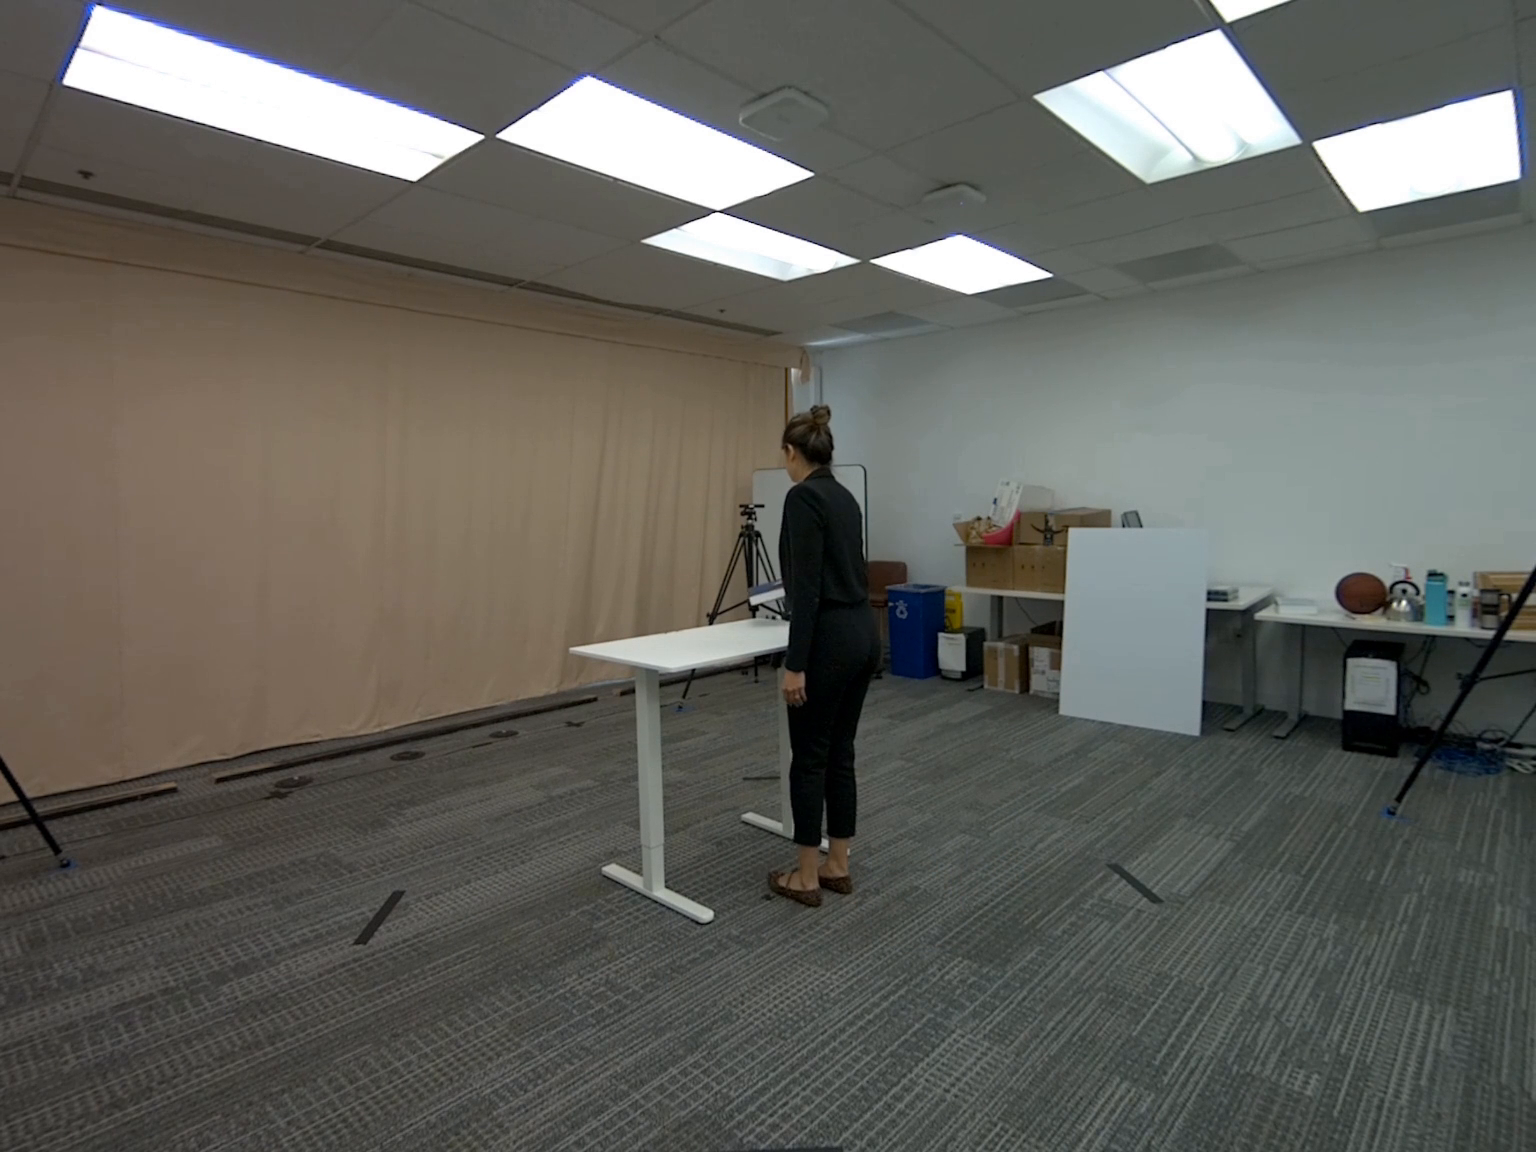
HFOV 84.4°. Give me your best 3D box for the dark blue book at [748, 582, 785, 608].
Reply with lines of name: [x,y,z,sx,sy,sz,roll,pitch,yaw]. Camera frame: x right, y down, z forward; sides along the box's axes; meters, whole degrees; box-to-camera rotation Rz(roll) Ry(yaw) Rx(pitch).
dark blue book: [0.003,0.070,3.626,0.164,0.045,0.246,-15,7,2]
